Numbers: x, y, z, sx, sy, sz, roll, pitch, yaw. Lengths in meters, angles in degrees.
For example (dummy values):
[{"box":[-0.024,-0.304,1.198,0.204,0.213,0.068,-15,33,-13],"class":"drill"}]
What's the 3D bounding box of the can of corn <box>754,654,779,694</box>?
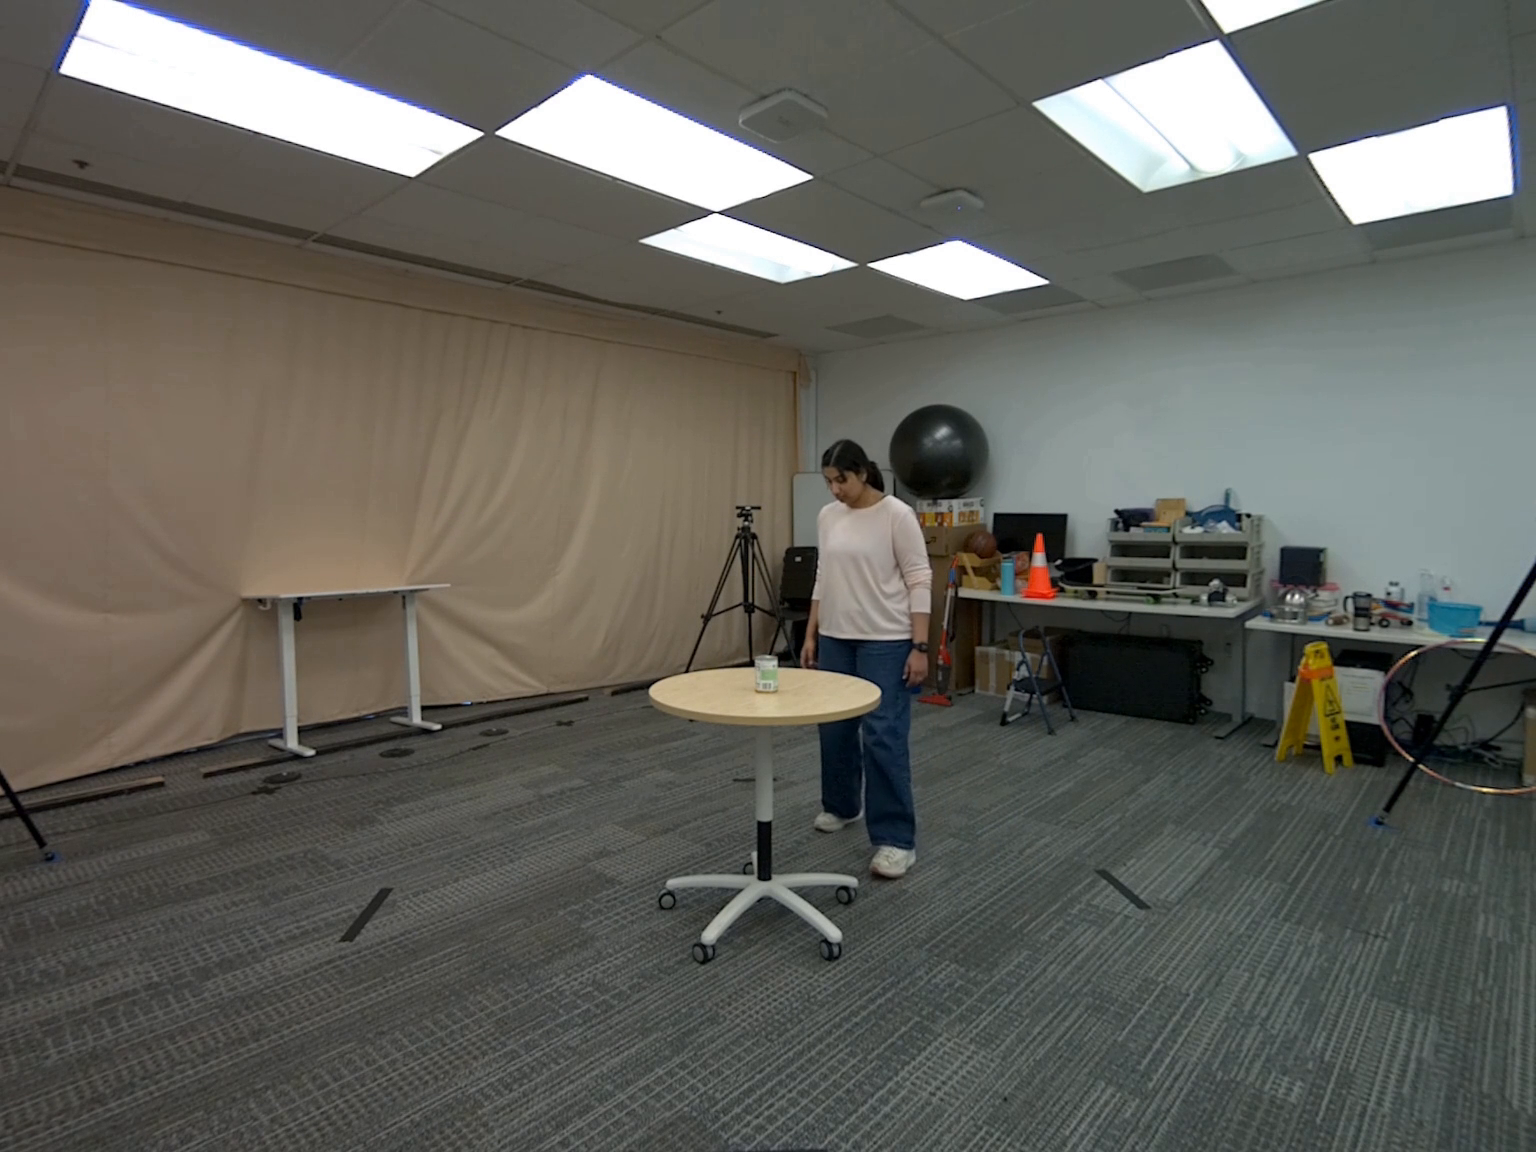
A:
[{"box":[0.001,0.322,2.759,0.074,0.111,0.074,-1,3,-2],"class":"can of corn"}]
